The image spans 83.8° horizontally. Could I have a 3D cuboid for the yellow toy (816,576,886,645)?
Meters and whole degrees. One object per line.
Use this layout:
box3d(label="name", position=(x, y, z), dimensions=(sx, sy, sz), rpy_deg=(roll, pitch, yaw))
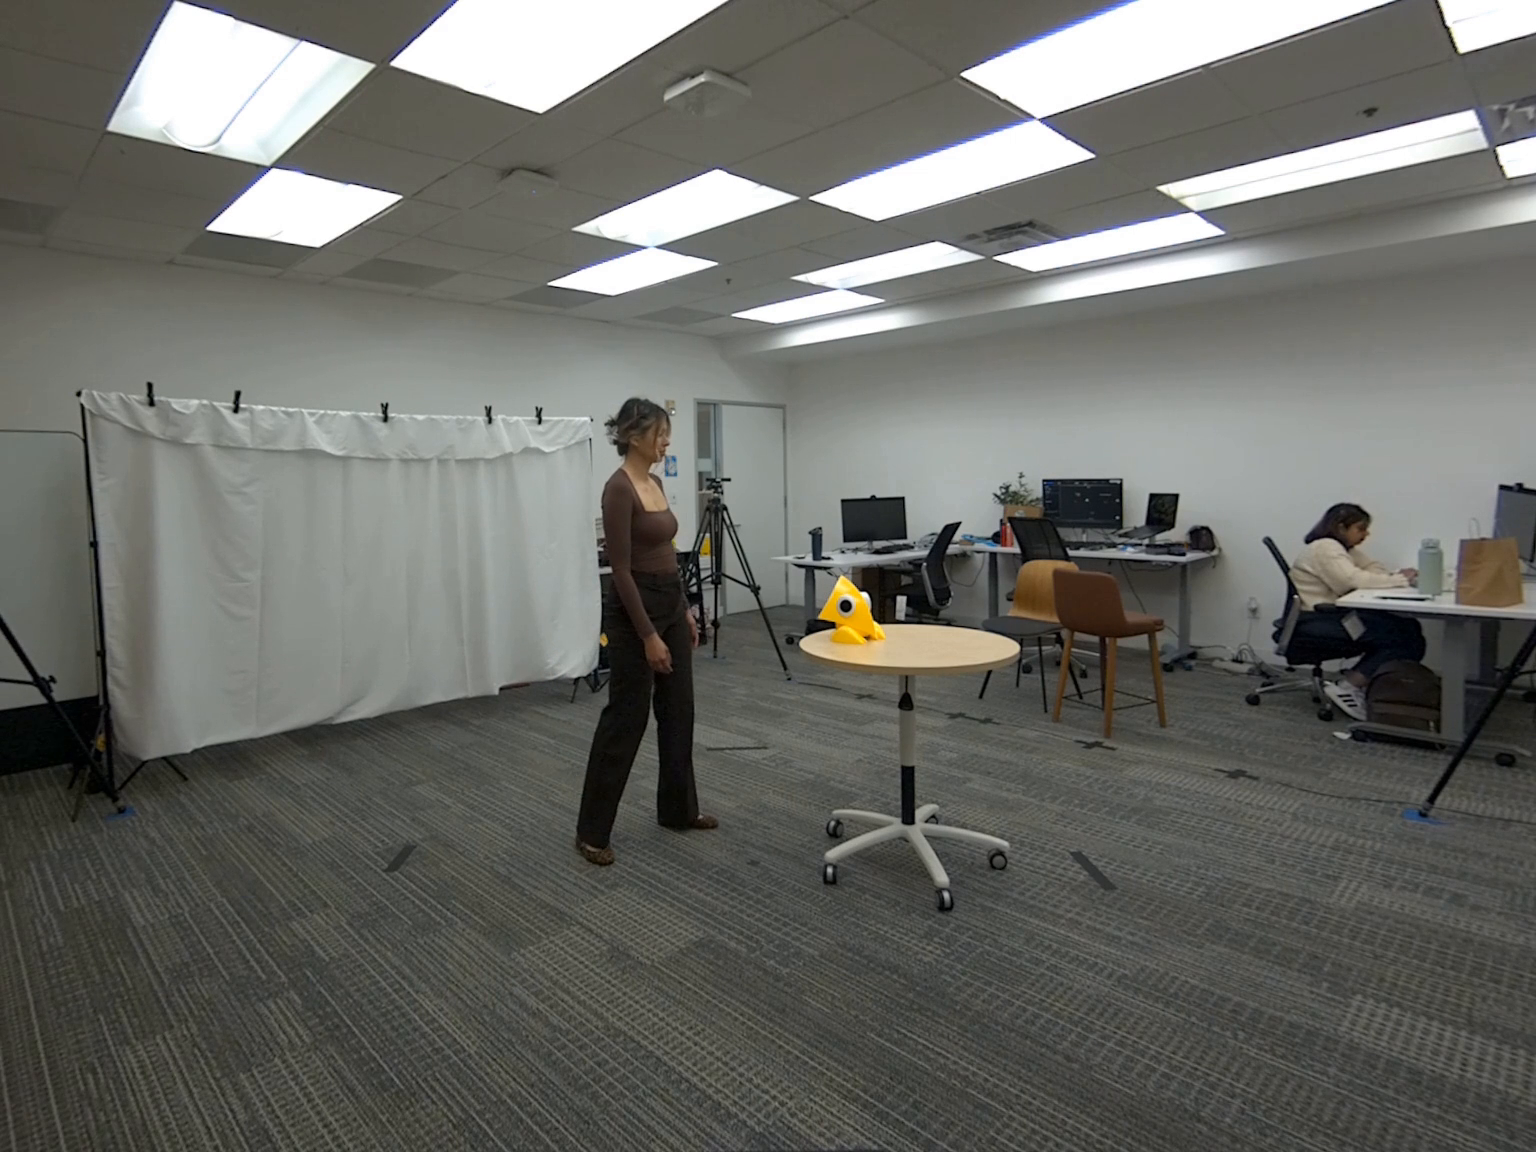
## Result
box3d(label="yellow toy", position=(0.319, 0.117, 3.161), dimensions=(0.199, 0.230, 0.199), rpy_deg=(-5, 6, -42))
